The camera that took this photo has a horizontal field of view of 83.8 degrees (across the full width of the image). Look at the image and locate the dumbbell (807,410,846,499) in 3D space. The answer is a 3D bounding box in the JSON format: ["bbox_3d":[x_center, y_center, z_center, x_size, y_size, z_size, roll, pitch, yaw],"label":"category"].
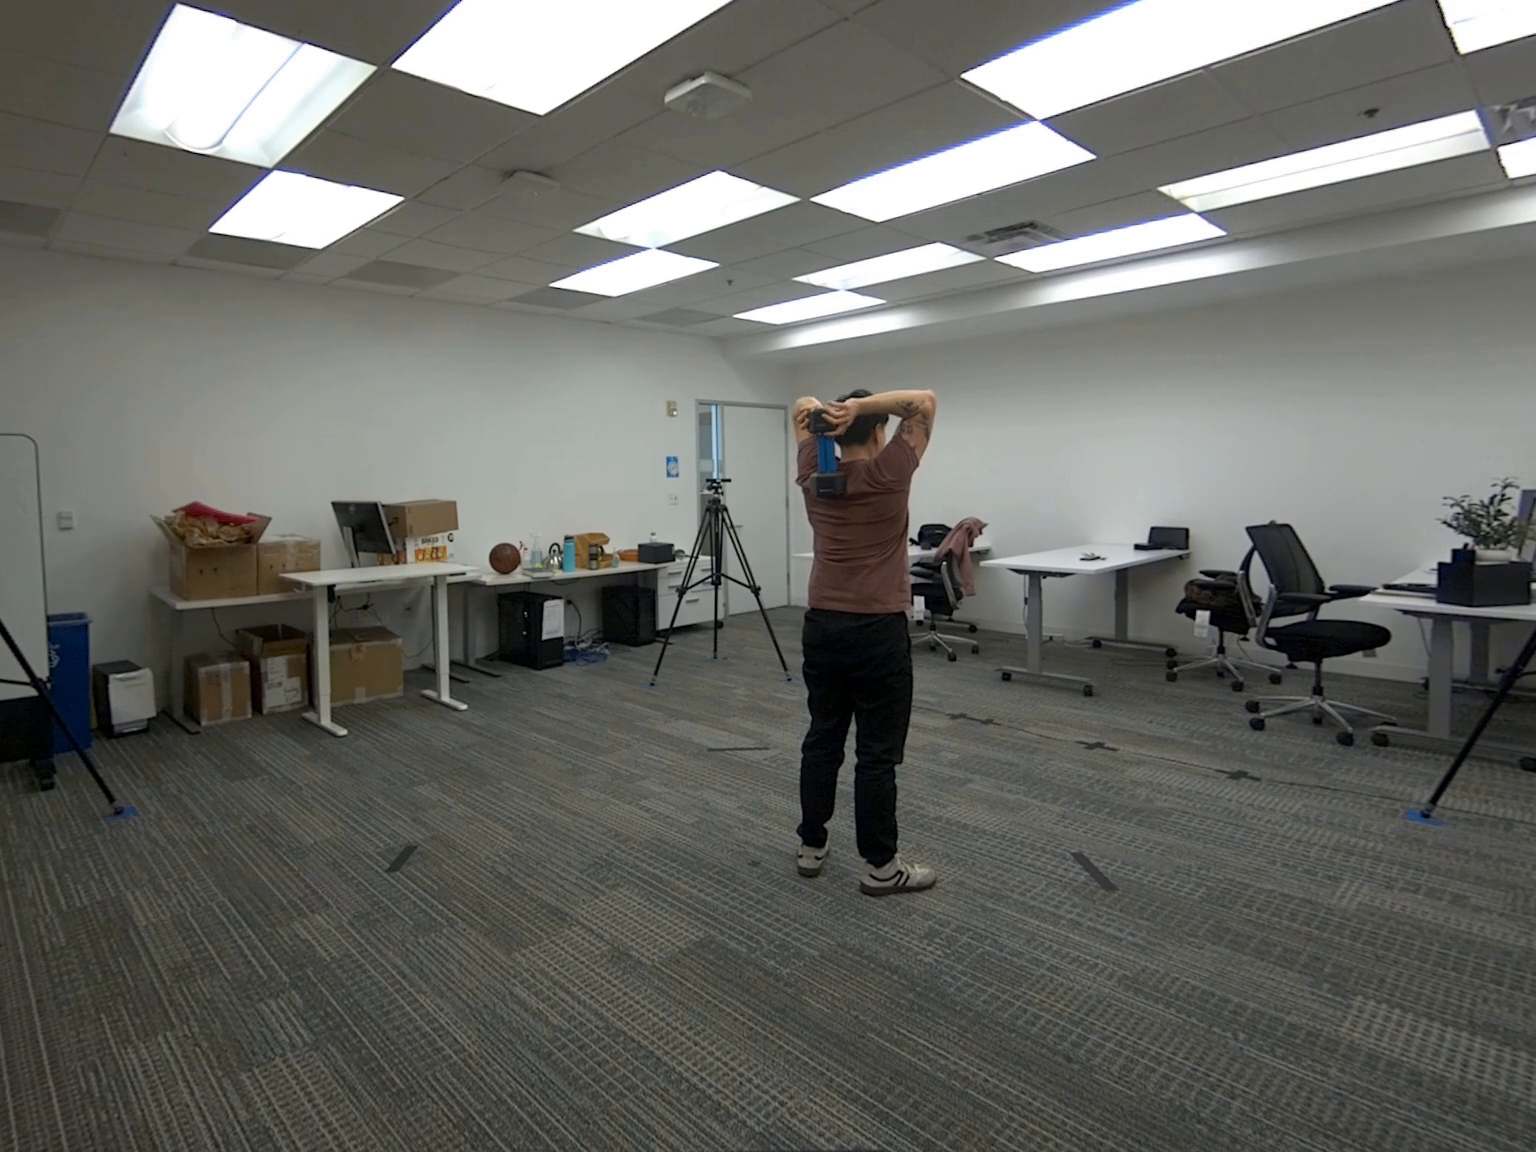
[{"bbox_3d":[0.198,-0.426,2.830,0.120,0.292,0.112,-5,6,-44],"label":"dumbbell"}]
